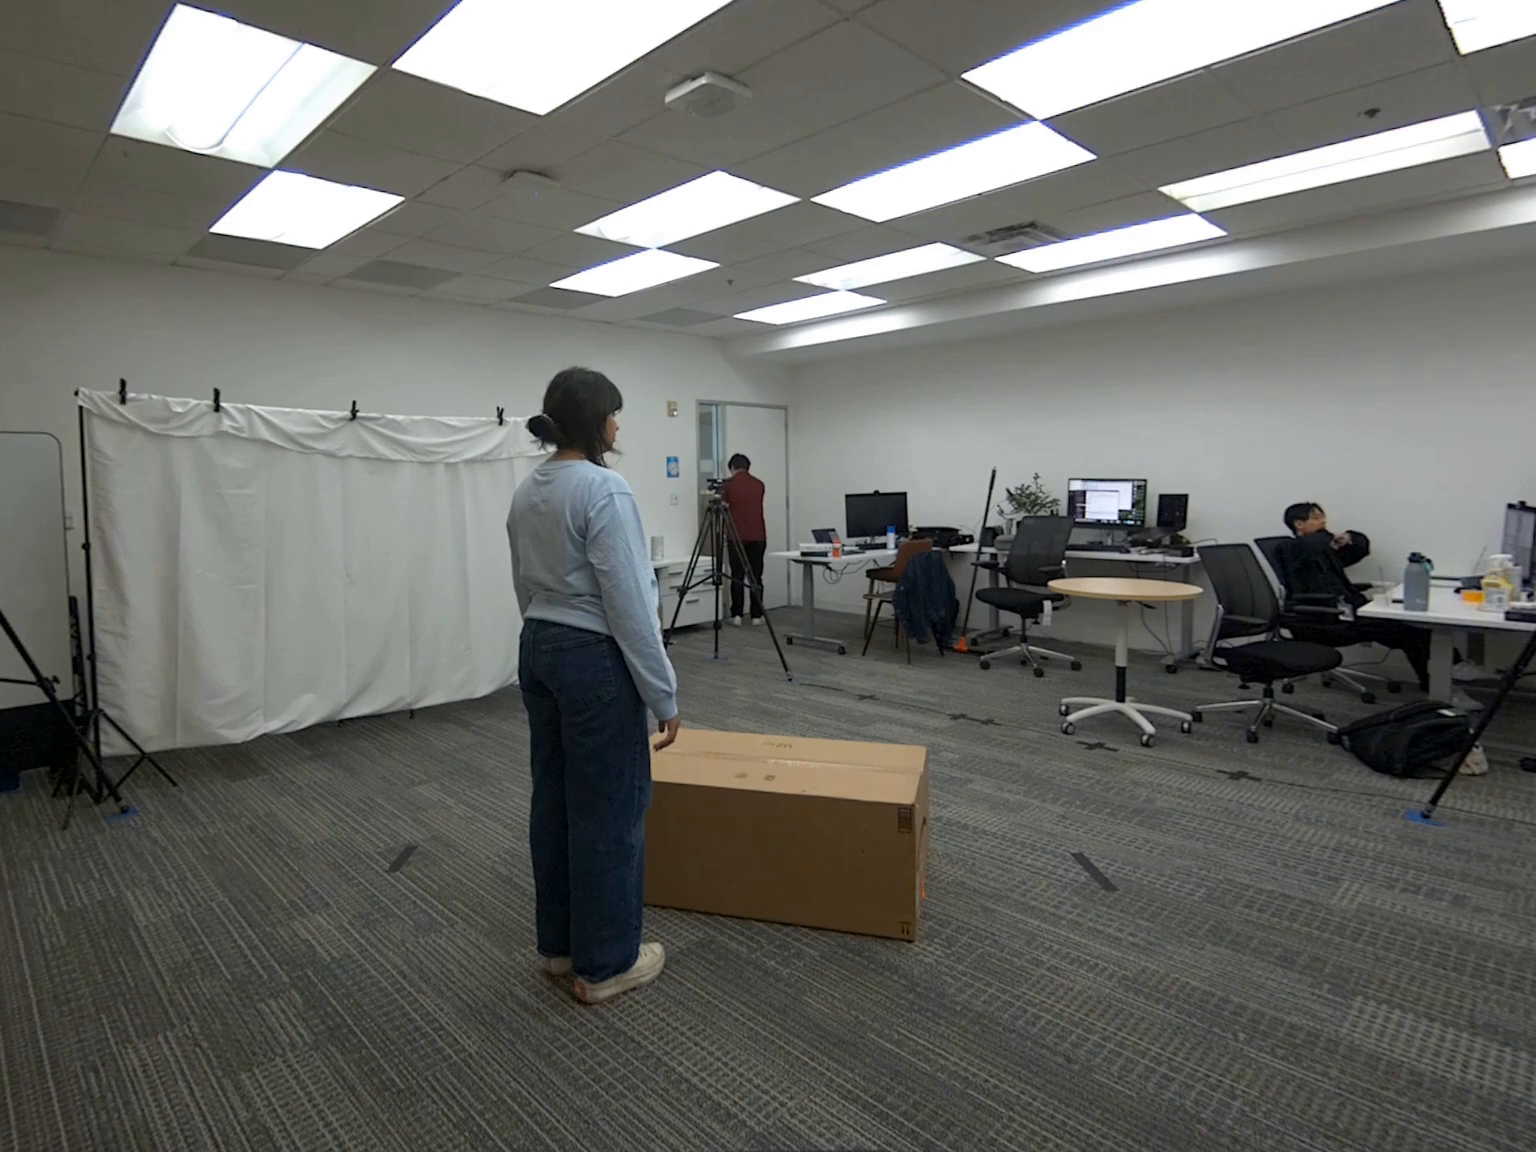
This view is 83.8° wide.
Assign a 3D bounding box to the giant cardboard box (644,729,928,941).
[{"bbox_3d":[0.017,0.842,2.968,1.043,0.424,0.571,1,6,17],"label":"giant cardboard box"}]
